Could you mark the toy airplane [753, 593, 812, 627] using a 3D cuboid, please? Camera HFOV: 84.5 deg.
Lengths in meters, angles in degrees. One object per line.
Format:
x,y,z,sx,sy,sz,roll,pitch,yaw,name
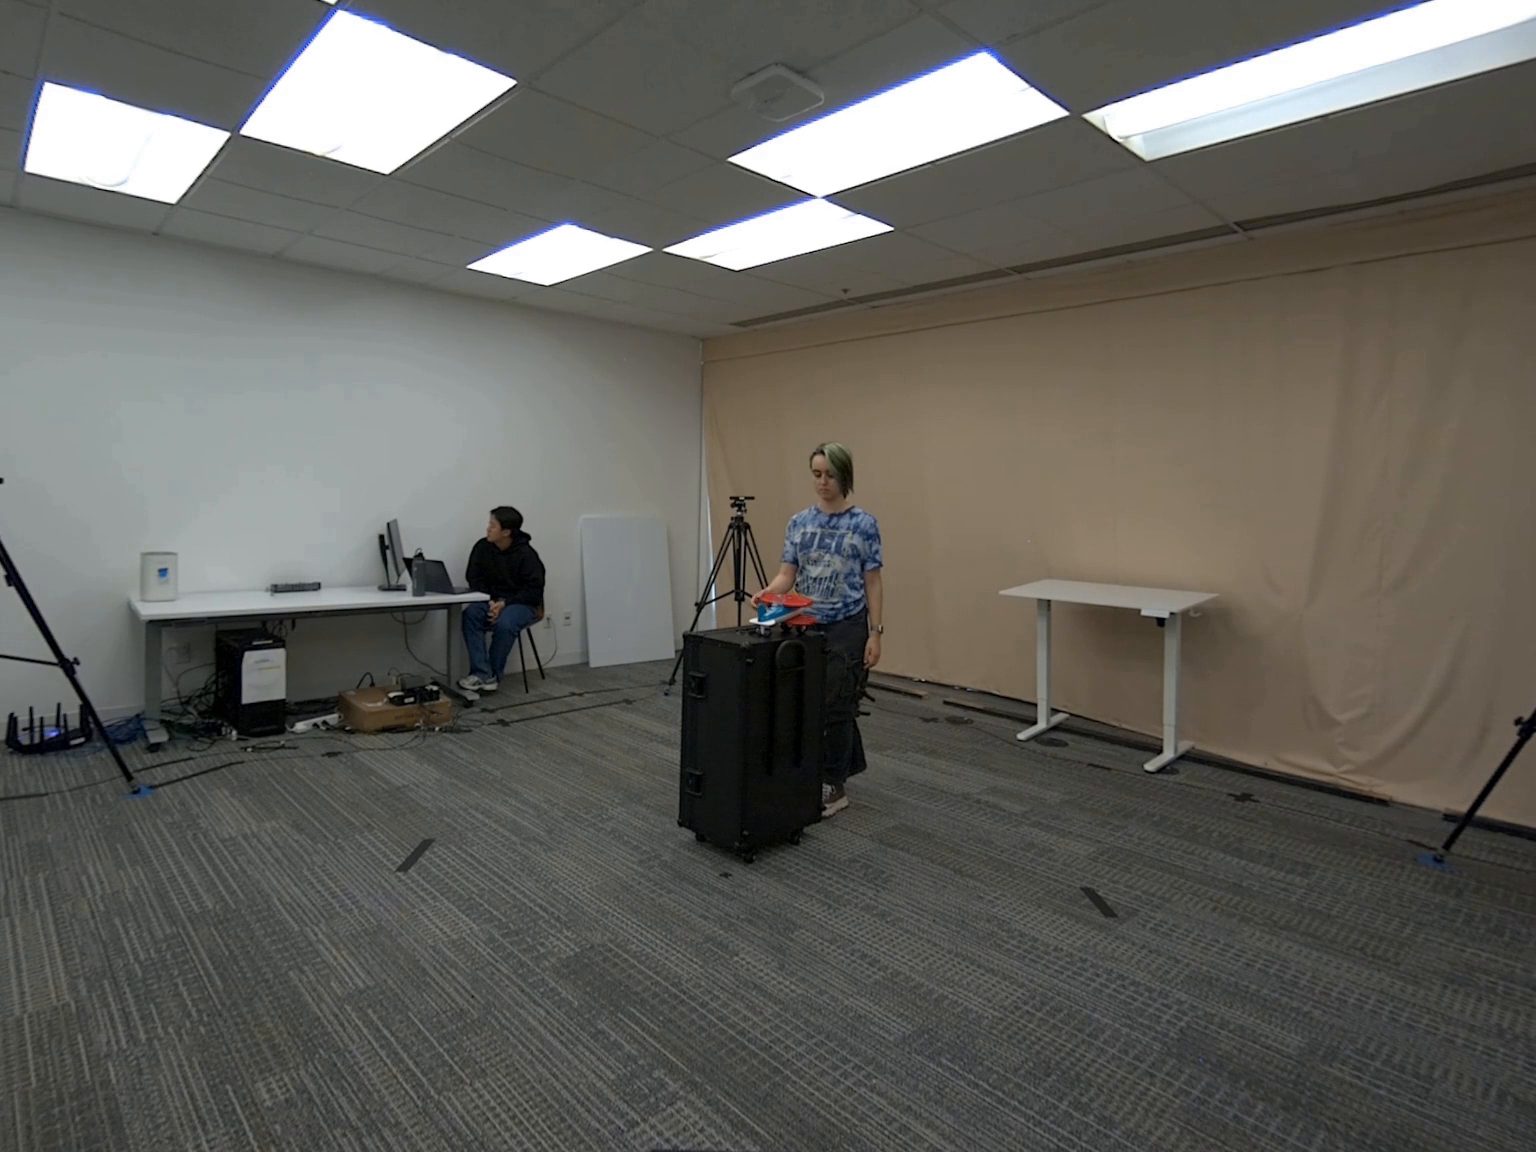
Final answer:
0.061,0.158,3.374,0.254,0.156,0.256,3,4,15,toy airplane
